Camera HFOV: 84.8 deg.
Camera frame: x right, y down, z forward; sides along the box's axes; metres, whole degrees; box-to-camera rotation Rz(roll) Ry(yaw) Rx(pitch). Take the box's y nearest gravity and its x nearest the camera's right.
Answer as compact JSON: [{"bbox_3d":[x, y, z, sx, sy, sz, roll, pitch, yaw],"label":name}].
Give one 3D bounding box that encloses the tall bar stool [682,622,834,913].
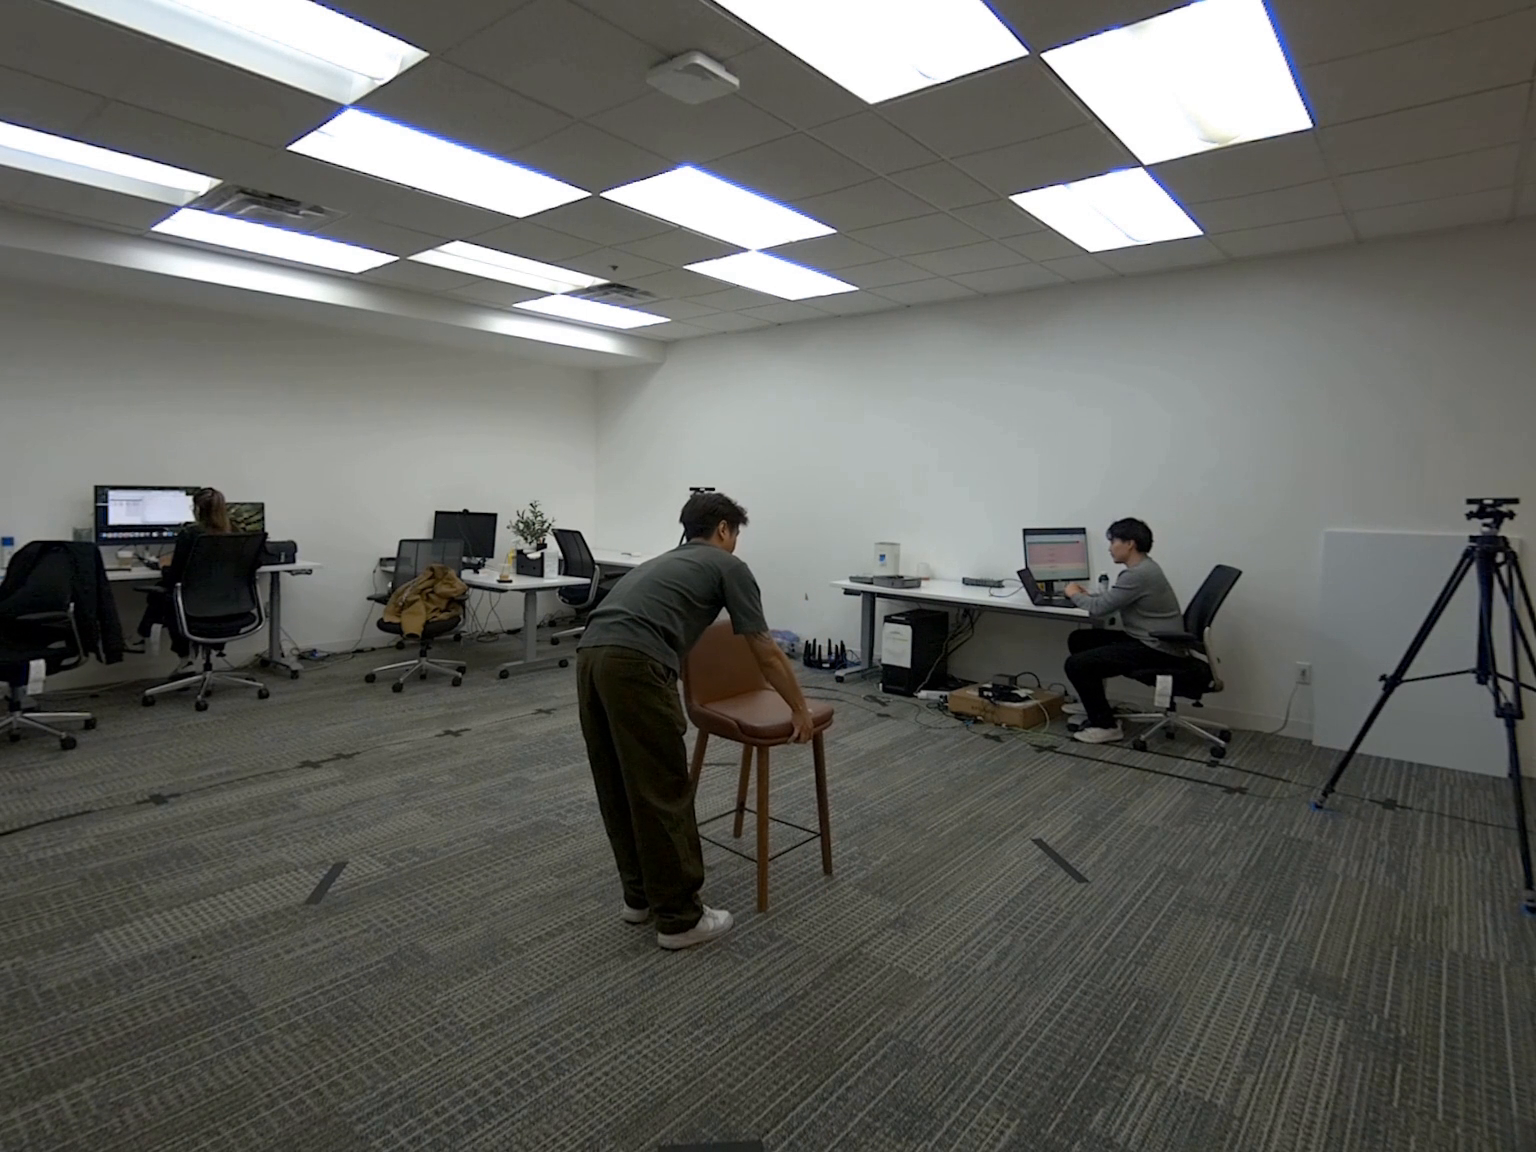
[{"bbox_3d":[-0.050,0.628,3.061,0.483,0.888,0.442,5,4,40],"label":"tall bar stool"}]
